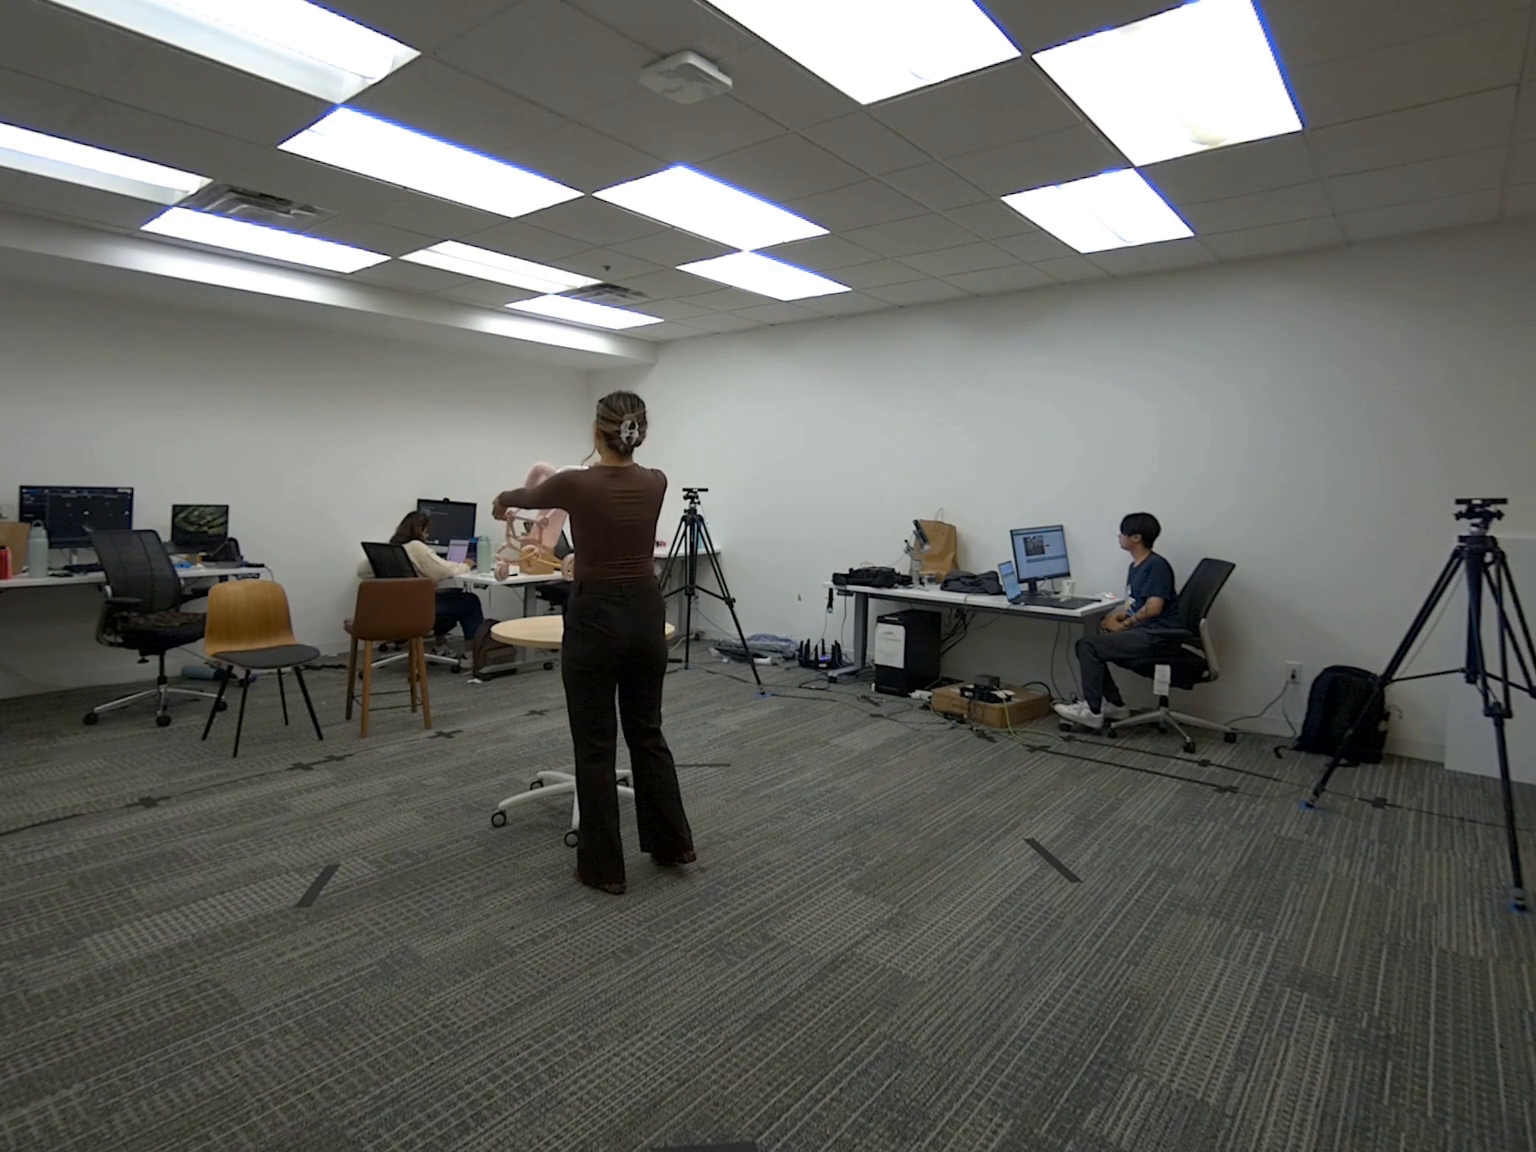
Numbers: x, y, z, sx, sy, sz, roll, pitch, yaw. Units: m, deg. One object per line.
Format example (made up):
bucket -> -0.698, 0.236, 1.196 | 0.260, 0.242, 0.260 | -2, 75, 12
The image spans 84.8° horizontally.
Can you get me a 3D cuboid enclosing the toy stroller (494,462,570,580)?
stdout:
toy stroller -> -0.950, -0.224, 3.466 | 0.291, 0.536, 0.328 | 9, -5, 37
